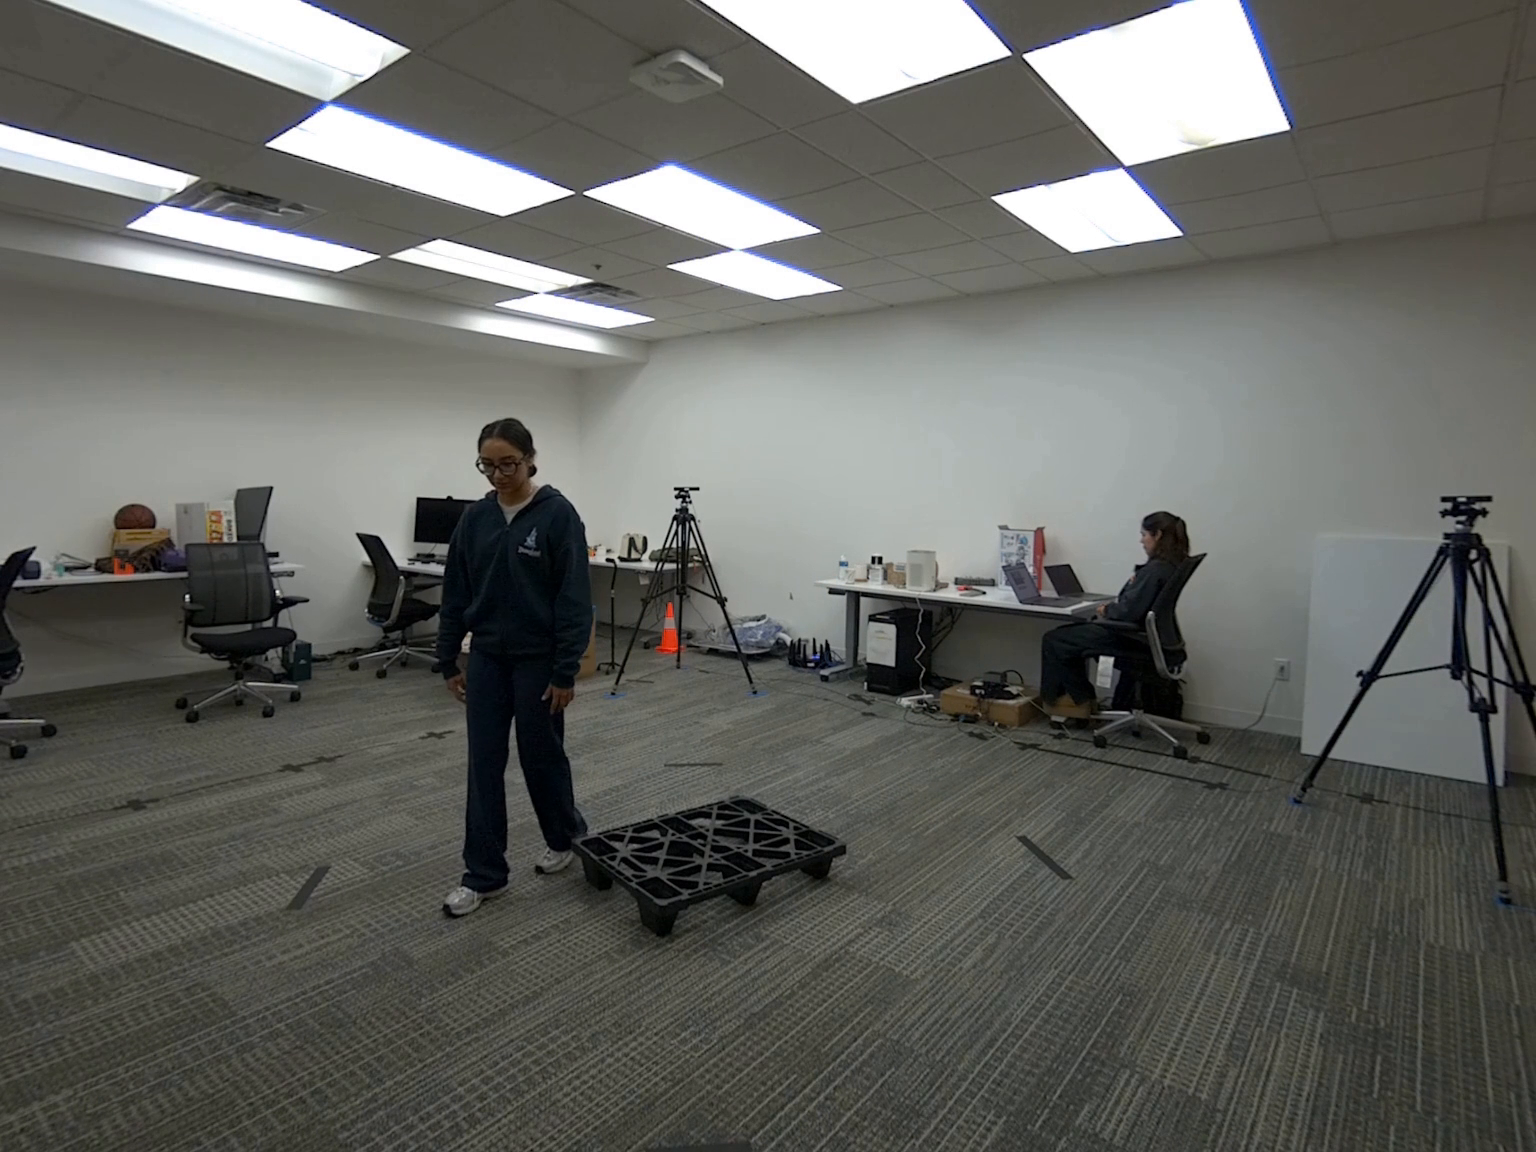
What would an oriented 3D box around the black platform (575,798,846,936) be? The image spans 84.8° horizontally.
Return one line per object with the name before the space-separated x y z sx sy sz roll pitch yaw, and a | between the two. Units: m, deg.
black platform | -0.216 1.008 3.027 0.782 0.143 0.626 -4 8 -39
